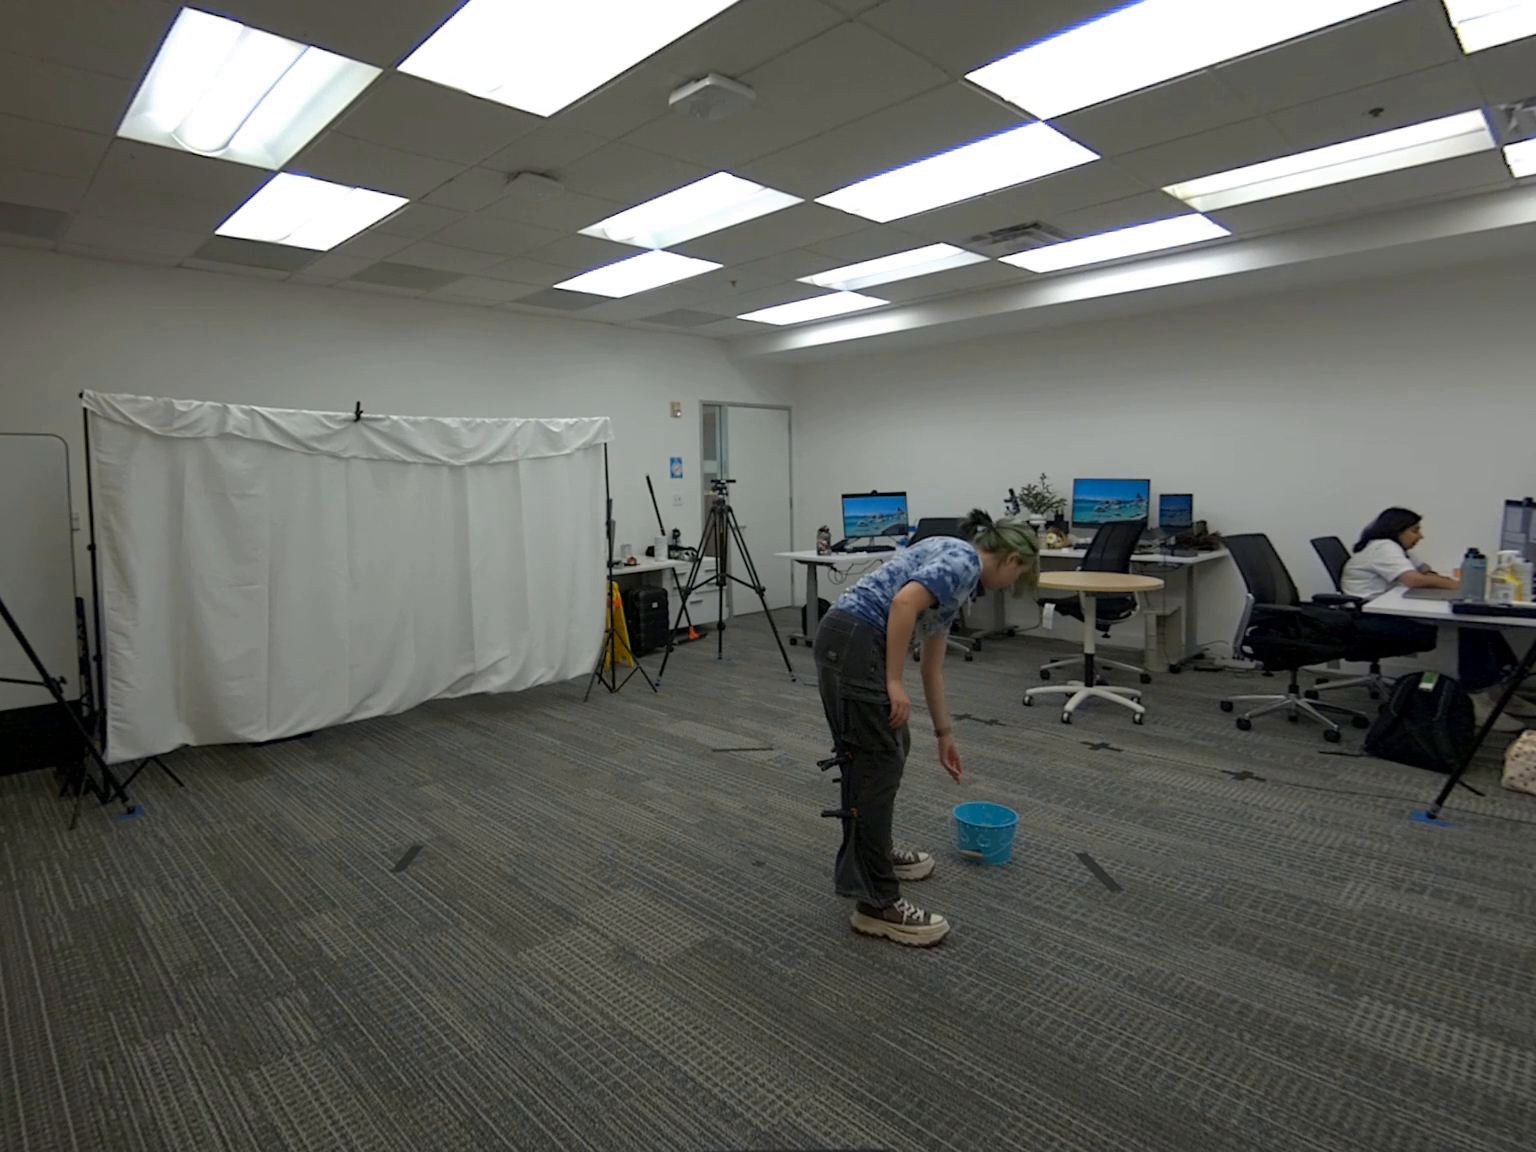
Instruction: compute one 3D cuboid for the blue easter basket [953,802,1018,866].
[{"bbox_3d":[0.797,0.949,3.150,0.243,0.155,0.245,-2,5,-2],"label":"blue easter basket"}]
